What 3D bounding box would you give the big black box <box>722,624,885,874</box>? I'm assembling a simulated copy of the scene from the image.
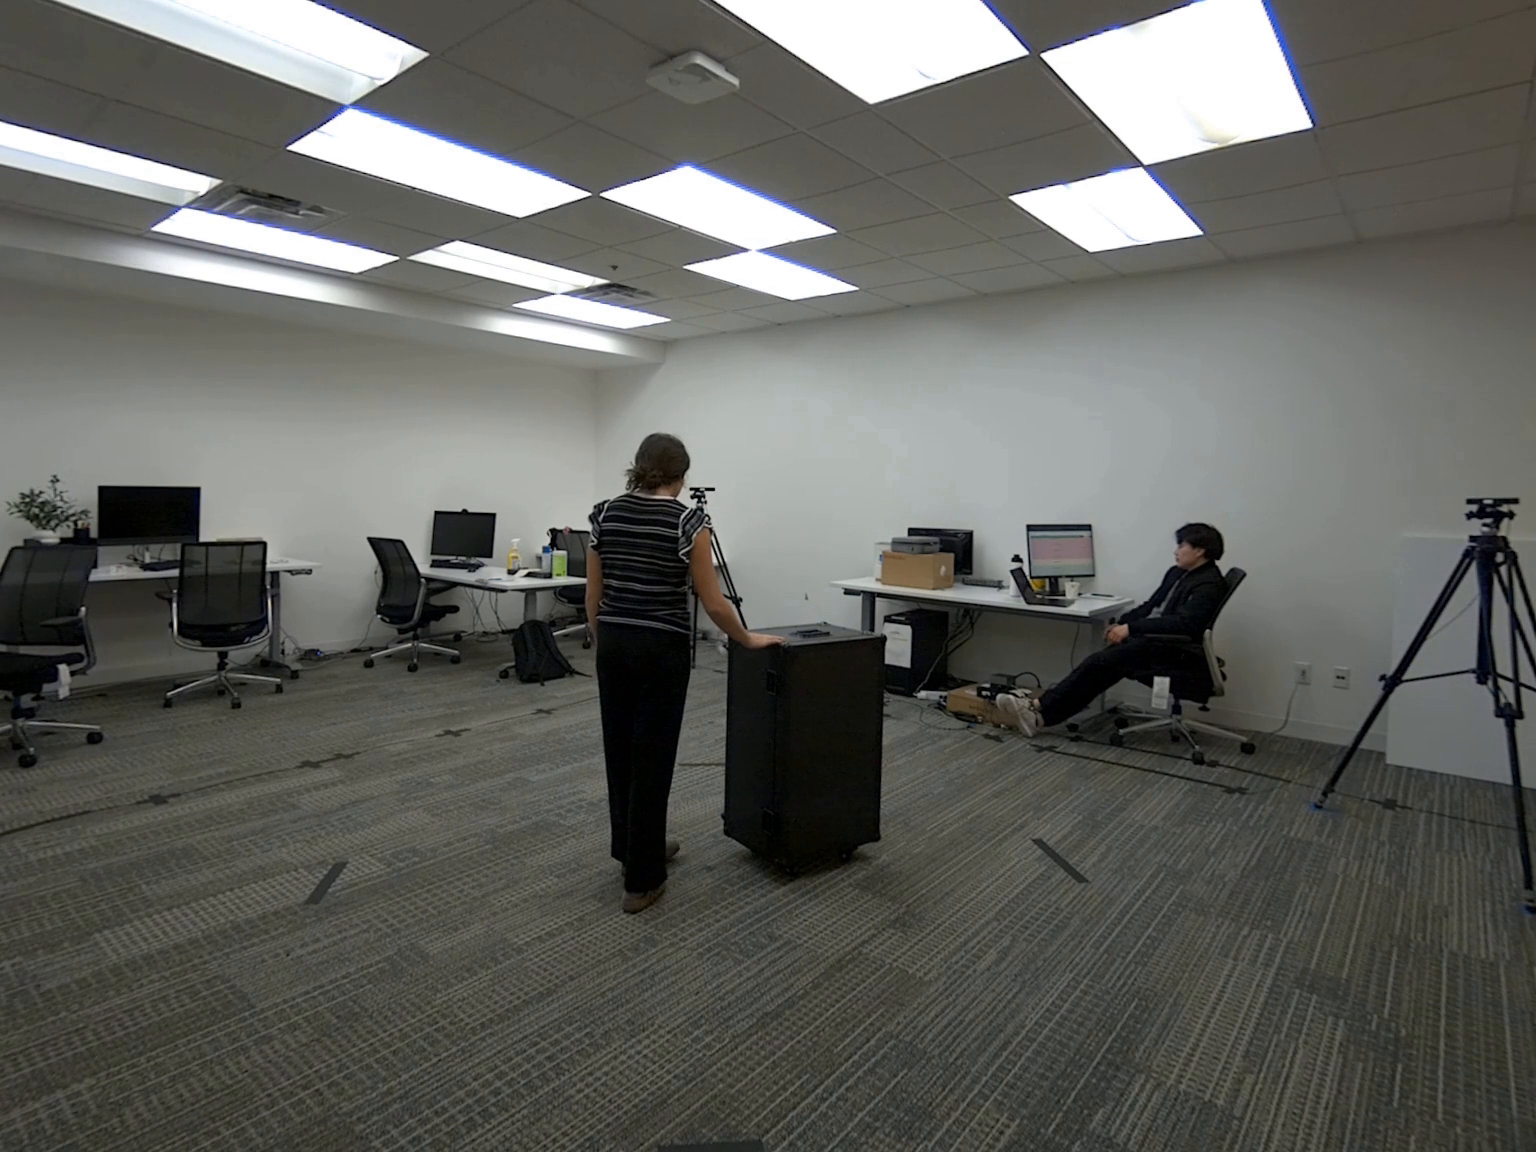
[{"bbox_3d":[0.116,0.637,3.226,0.506,0.860,0.409,-1,3,-35],"label":"big black box"}]
